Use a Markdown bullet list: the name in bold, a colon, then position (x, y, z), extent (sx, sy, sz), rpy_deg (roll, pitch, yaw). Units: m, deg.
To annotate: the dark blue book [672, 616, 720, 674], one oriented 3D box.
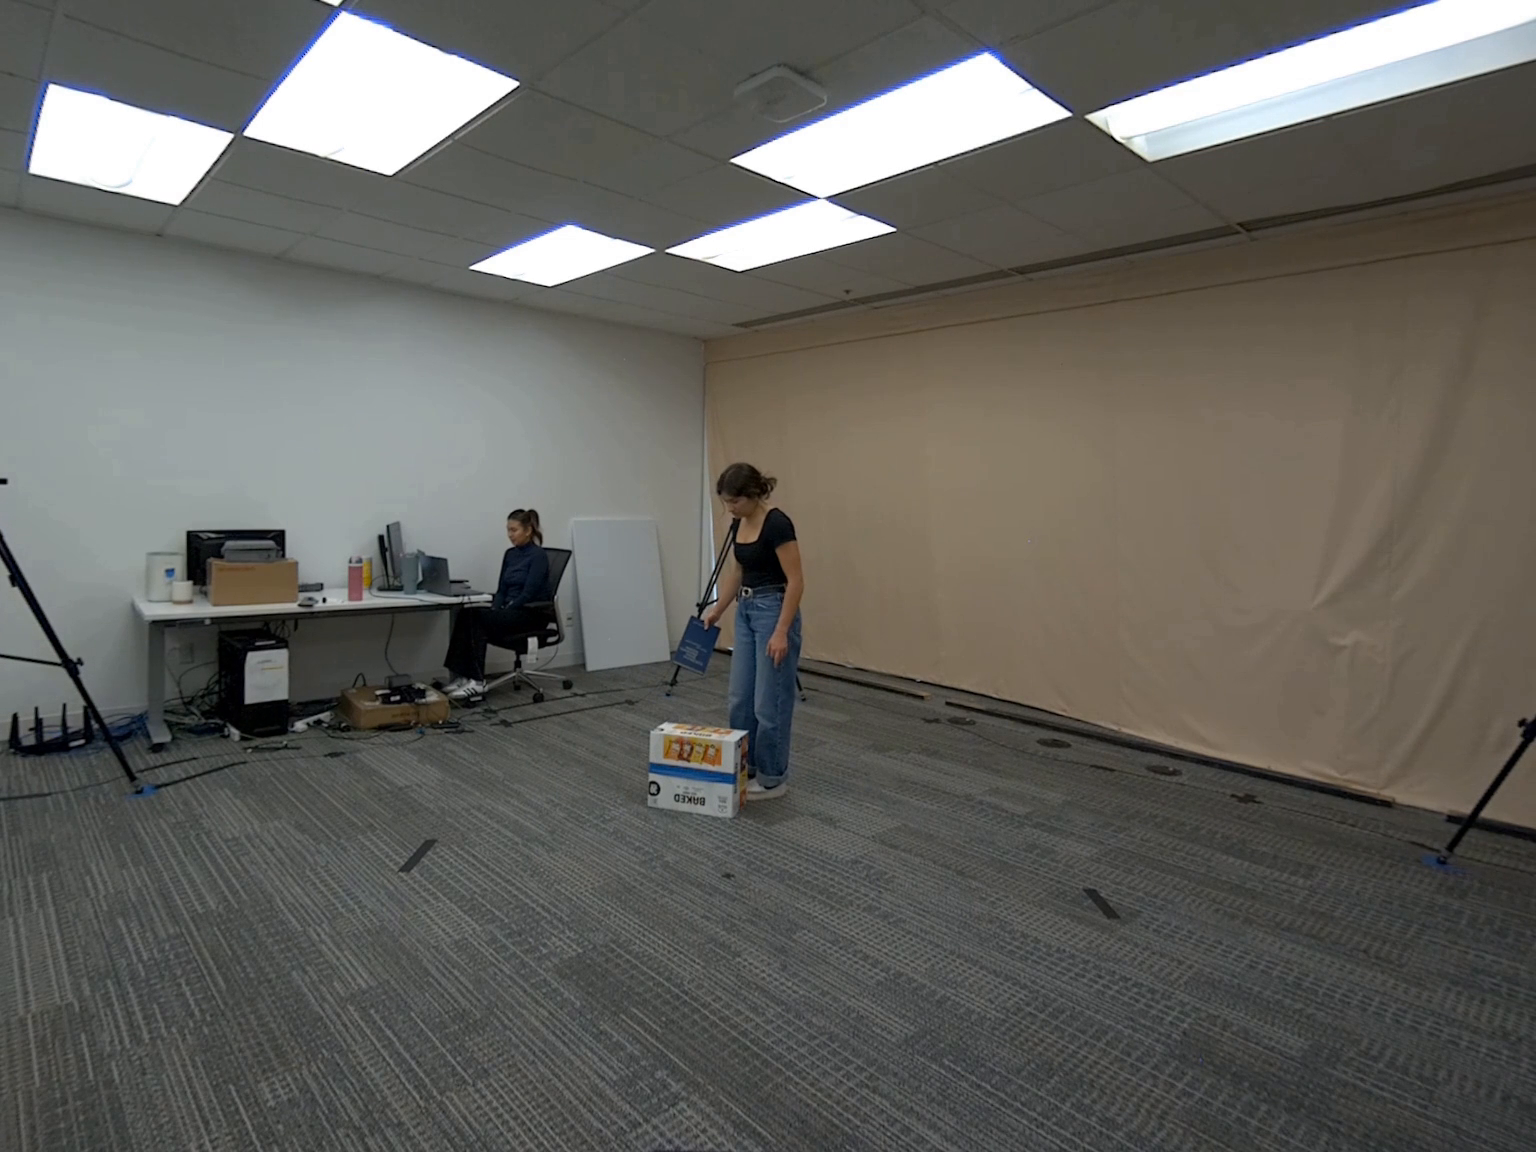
- **dark blue book**: position (-0.345, 0.335, 4.075), extent (0.163, 0.247, 0.045), rpy_deg (22, -20, -3)
